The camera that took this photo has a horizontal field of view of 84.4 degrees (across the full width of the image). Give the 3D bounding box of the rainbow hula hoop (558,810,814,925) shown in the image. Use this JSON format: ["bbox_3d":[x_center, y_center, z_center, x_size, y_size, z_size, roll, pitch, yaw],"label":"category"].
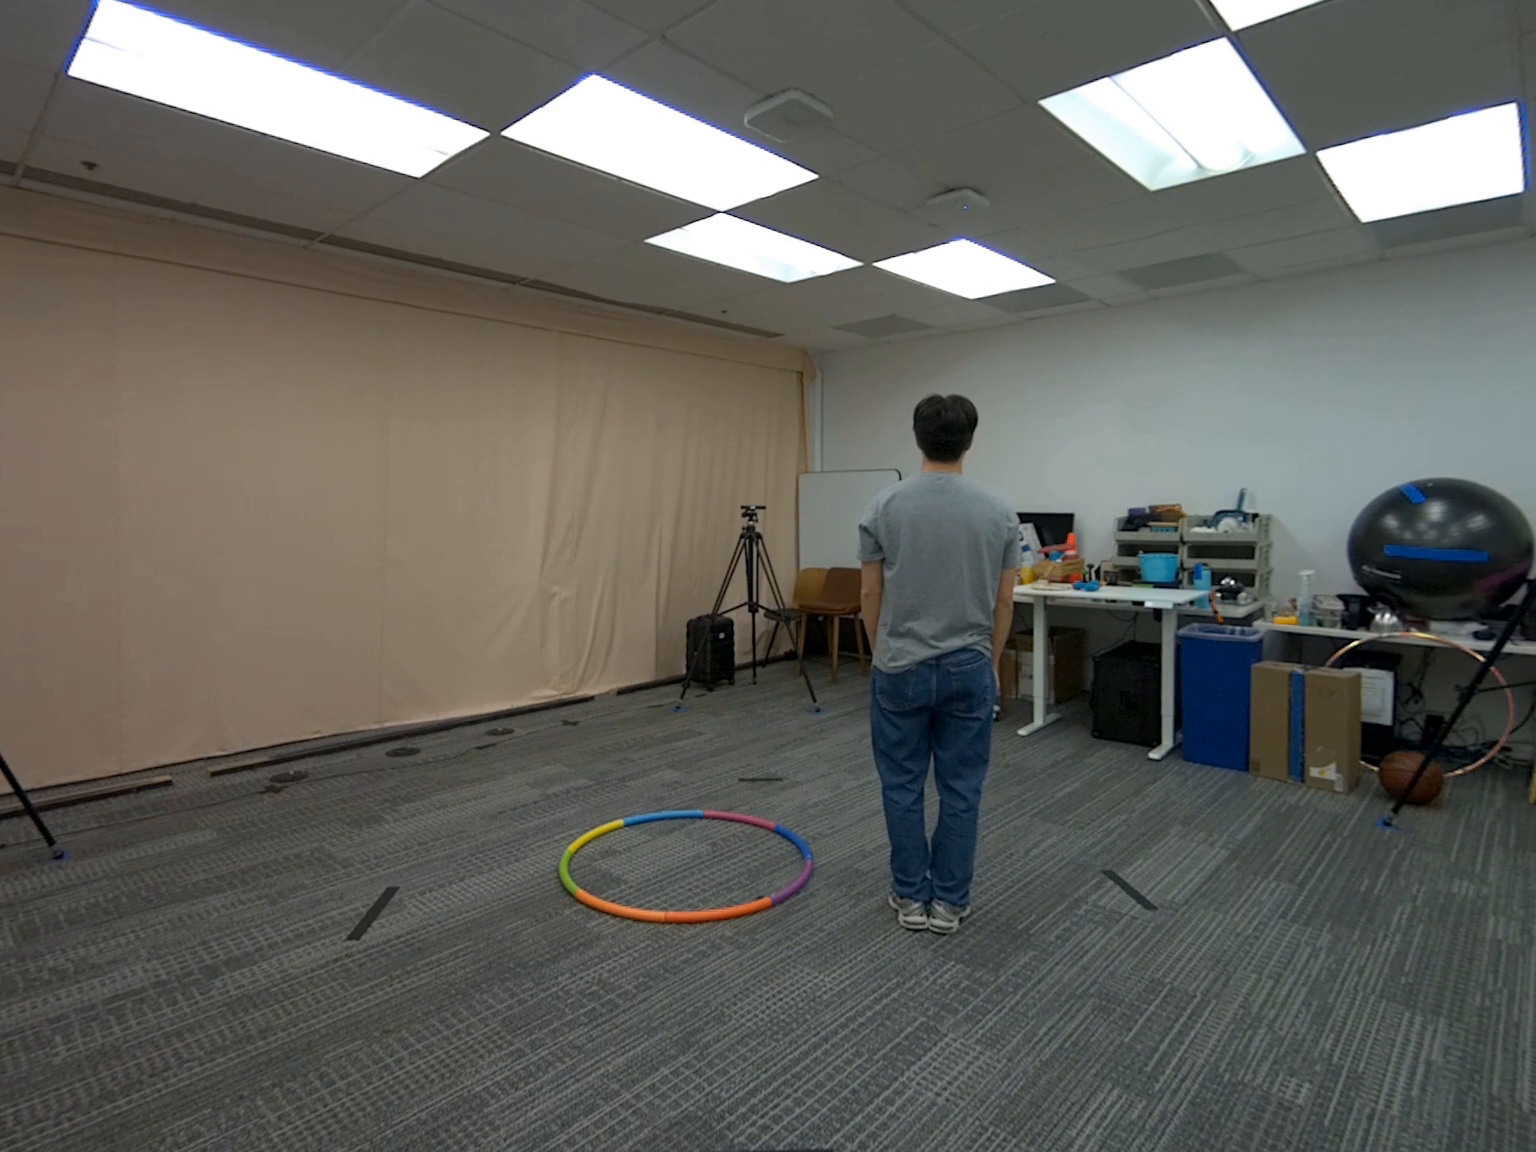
[{"bbox_3d":[-0.311,1.091,3.289,0.978,0.035,0.982,0,4,-2],"label":"rainbow hula hoop"}]
